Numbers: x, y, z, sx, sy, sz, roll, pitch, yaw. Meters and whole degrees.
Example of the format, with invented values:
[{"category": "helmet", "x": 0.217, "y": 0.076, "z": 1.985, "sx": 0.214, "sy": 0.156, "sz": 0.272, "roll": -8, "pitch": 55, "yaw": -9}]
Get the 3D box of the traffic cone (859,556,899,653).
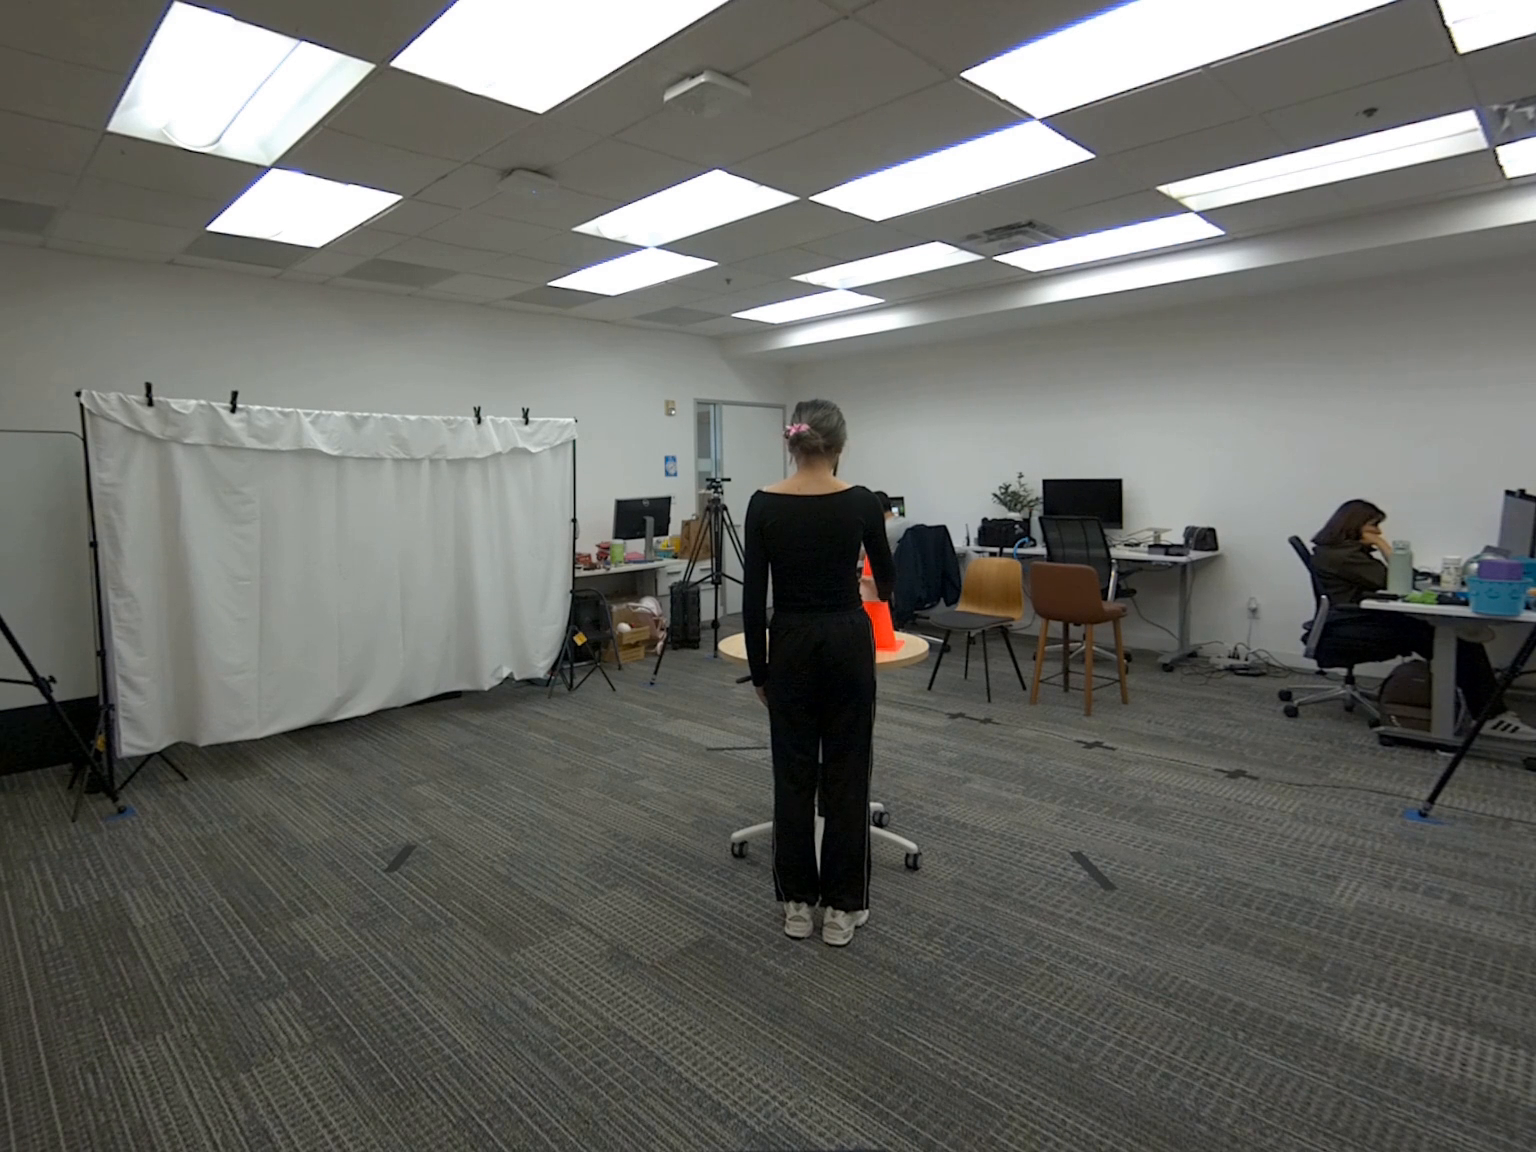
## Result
[{"category": "traffic cone", "x": 0.374, "y": 0.064, "z": 3.068, "sx": 0.209, "sy": 0.382, "sz": 0.200, "roll": -1, "pitch": 5, "yaw": 22}]
